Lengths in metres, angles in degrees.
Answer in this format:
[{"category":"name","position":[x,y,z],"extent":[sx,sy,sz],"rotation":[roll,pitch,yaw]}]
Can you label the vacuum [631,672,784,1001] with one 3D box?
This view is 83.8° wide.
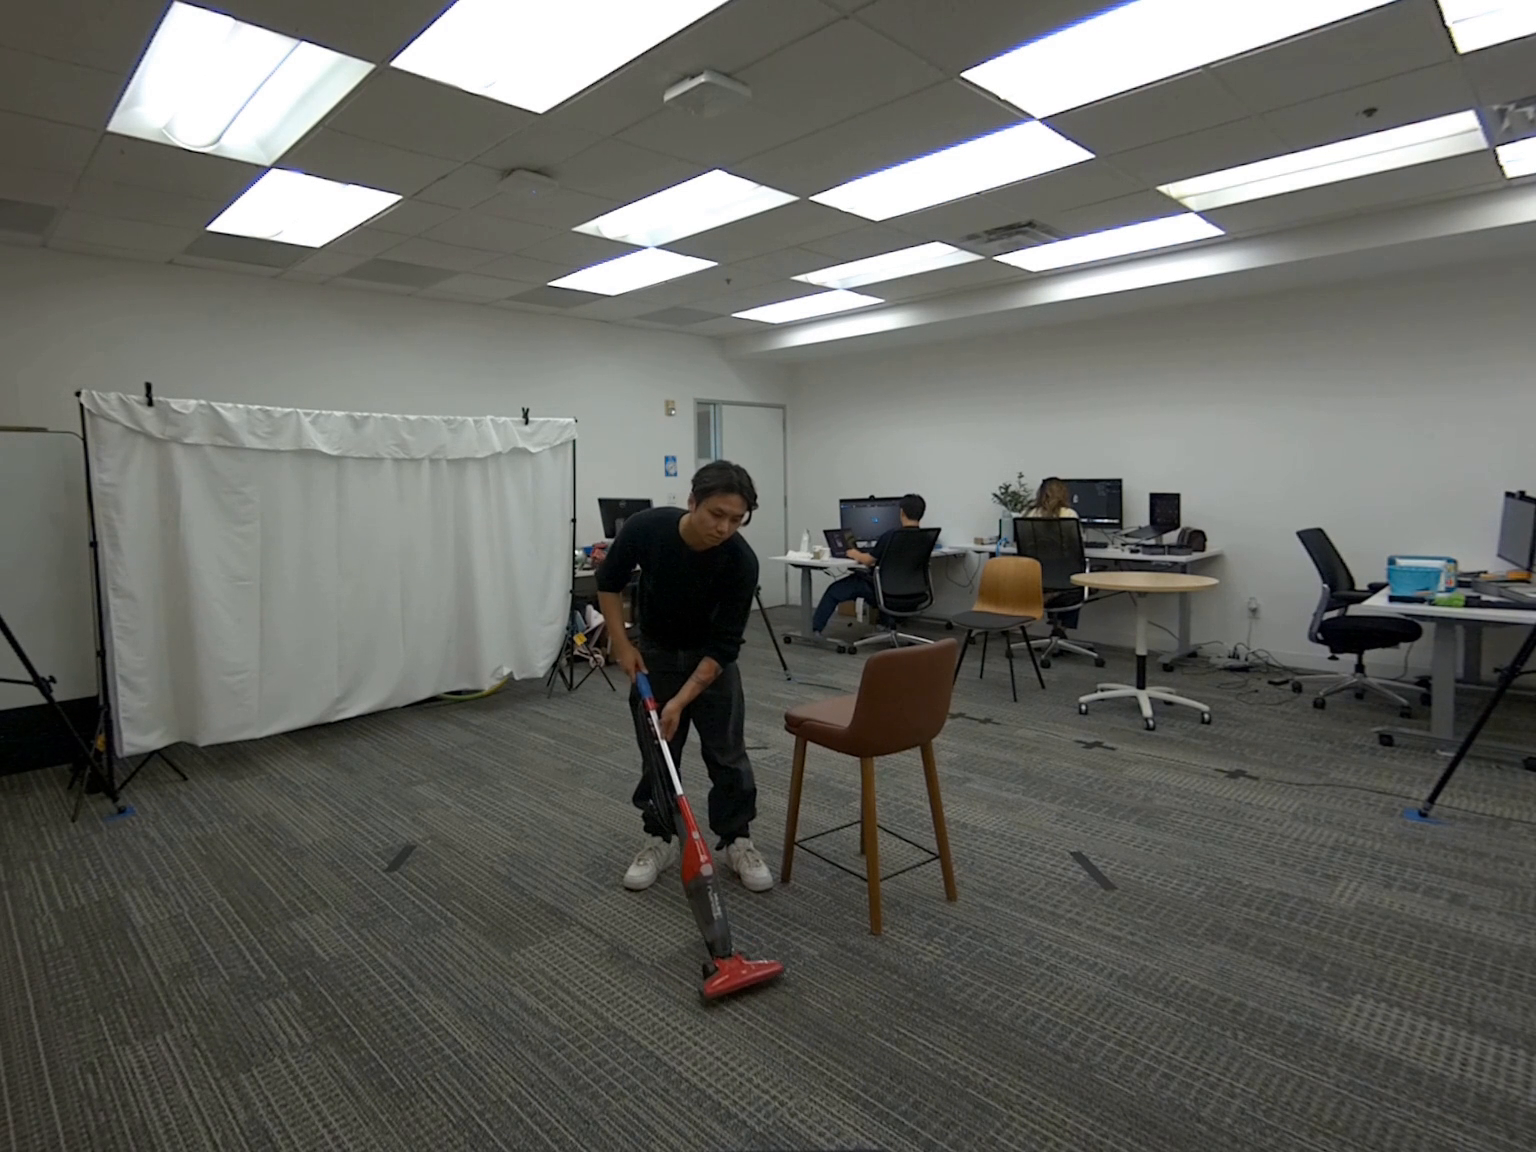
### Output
[{"category":"vacuum","position":[-0.277,0.709,2.632],"extent":[0.247,1.085,0.142],"rotation":[-5,-37,-29]}]
